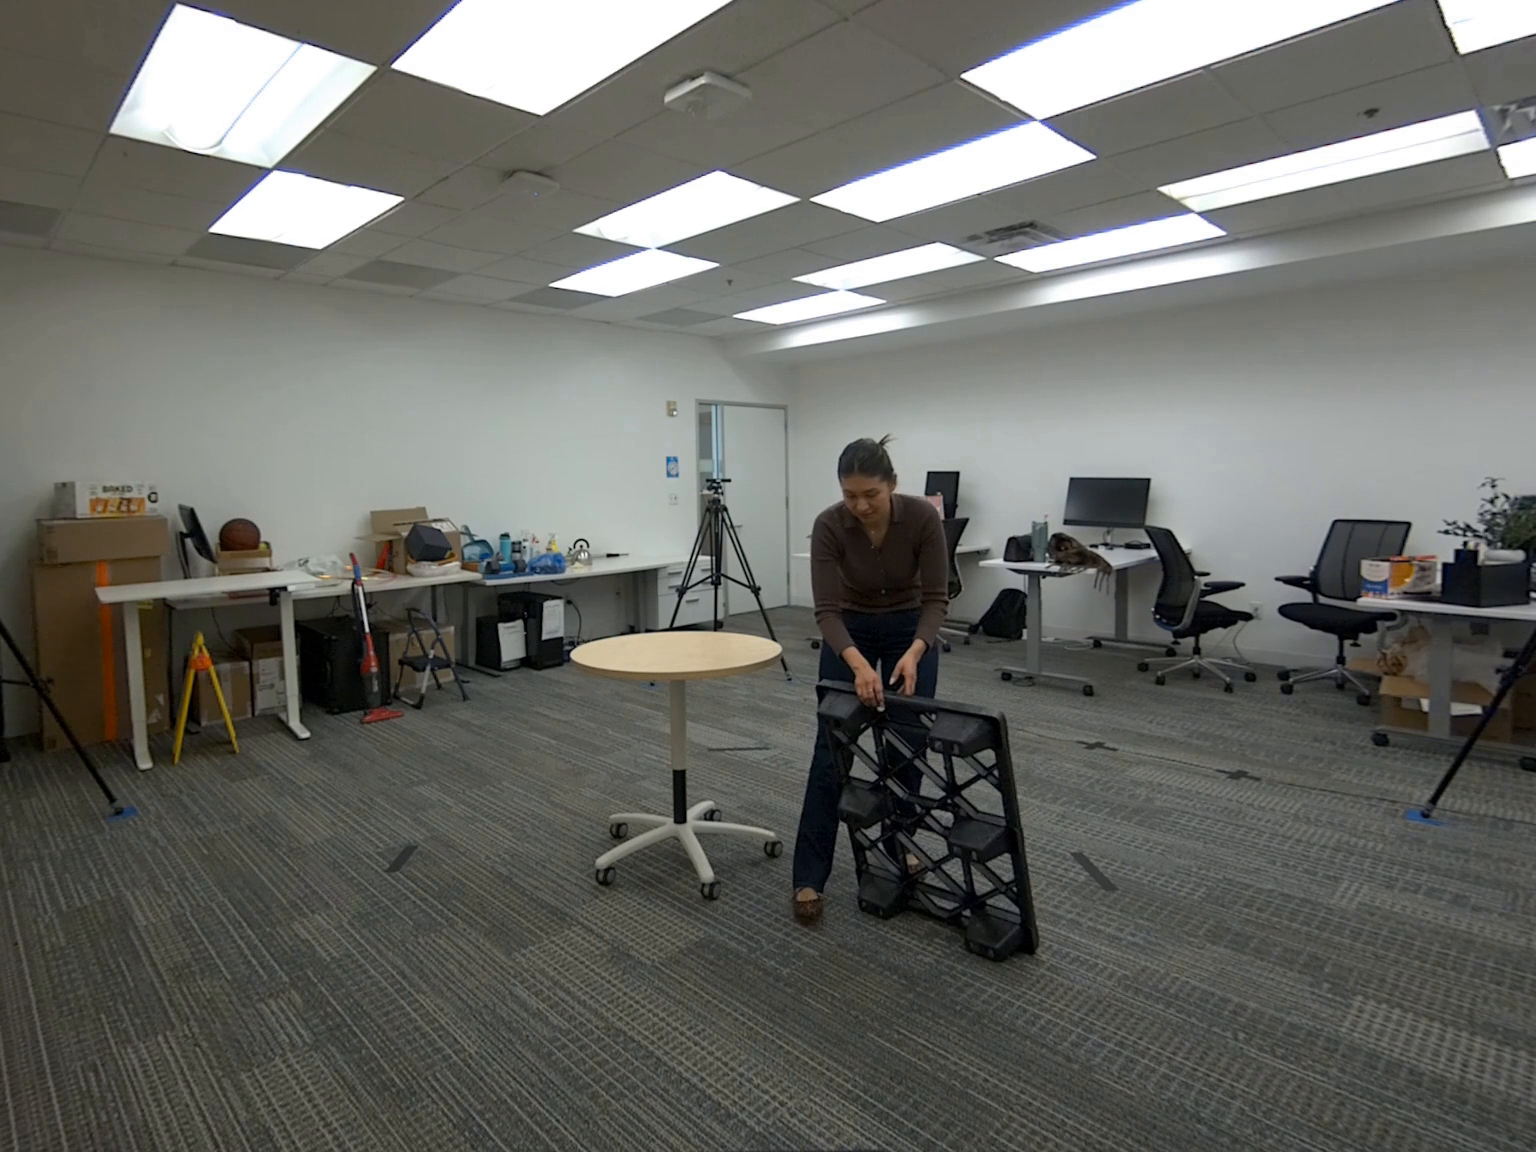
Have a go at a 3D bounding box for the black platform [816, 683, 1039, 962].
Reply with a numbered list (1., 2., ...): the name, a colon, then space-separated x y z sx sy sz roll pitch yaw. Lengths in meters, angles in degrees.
1. black platform: 0.448 0.726 2.538 0.624 0.791 0.141 4 24 41
